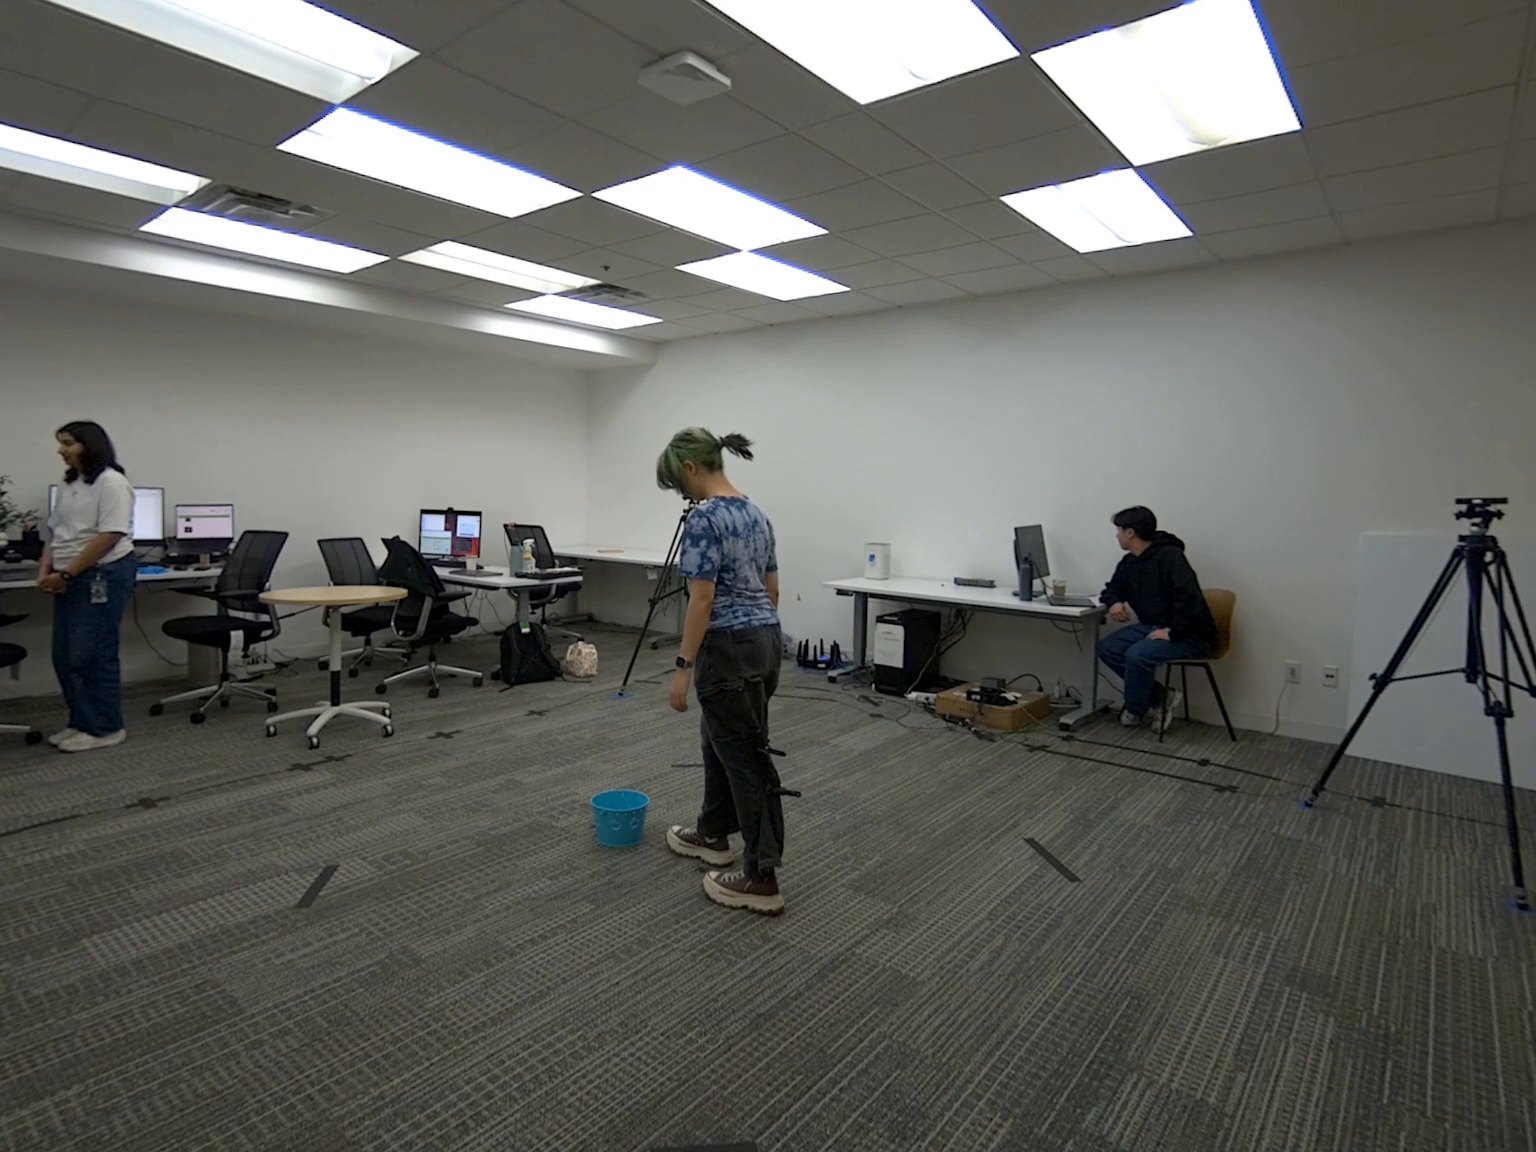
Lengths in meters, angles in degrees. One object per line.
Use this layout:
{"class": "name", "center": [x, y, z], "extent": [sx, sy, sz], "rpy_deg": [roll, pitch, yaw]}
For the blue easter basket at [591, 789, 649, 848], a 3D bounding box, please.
{"class": "blue easter basket", "center": [-0.599, 0.959, 3.385], "extent": [0.243, 0.155, 0.245], "rpy_deg": [1, 5, -2]}
